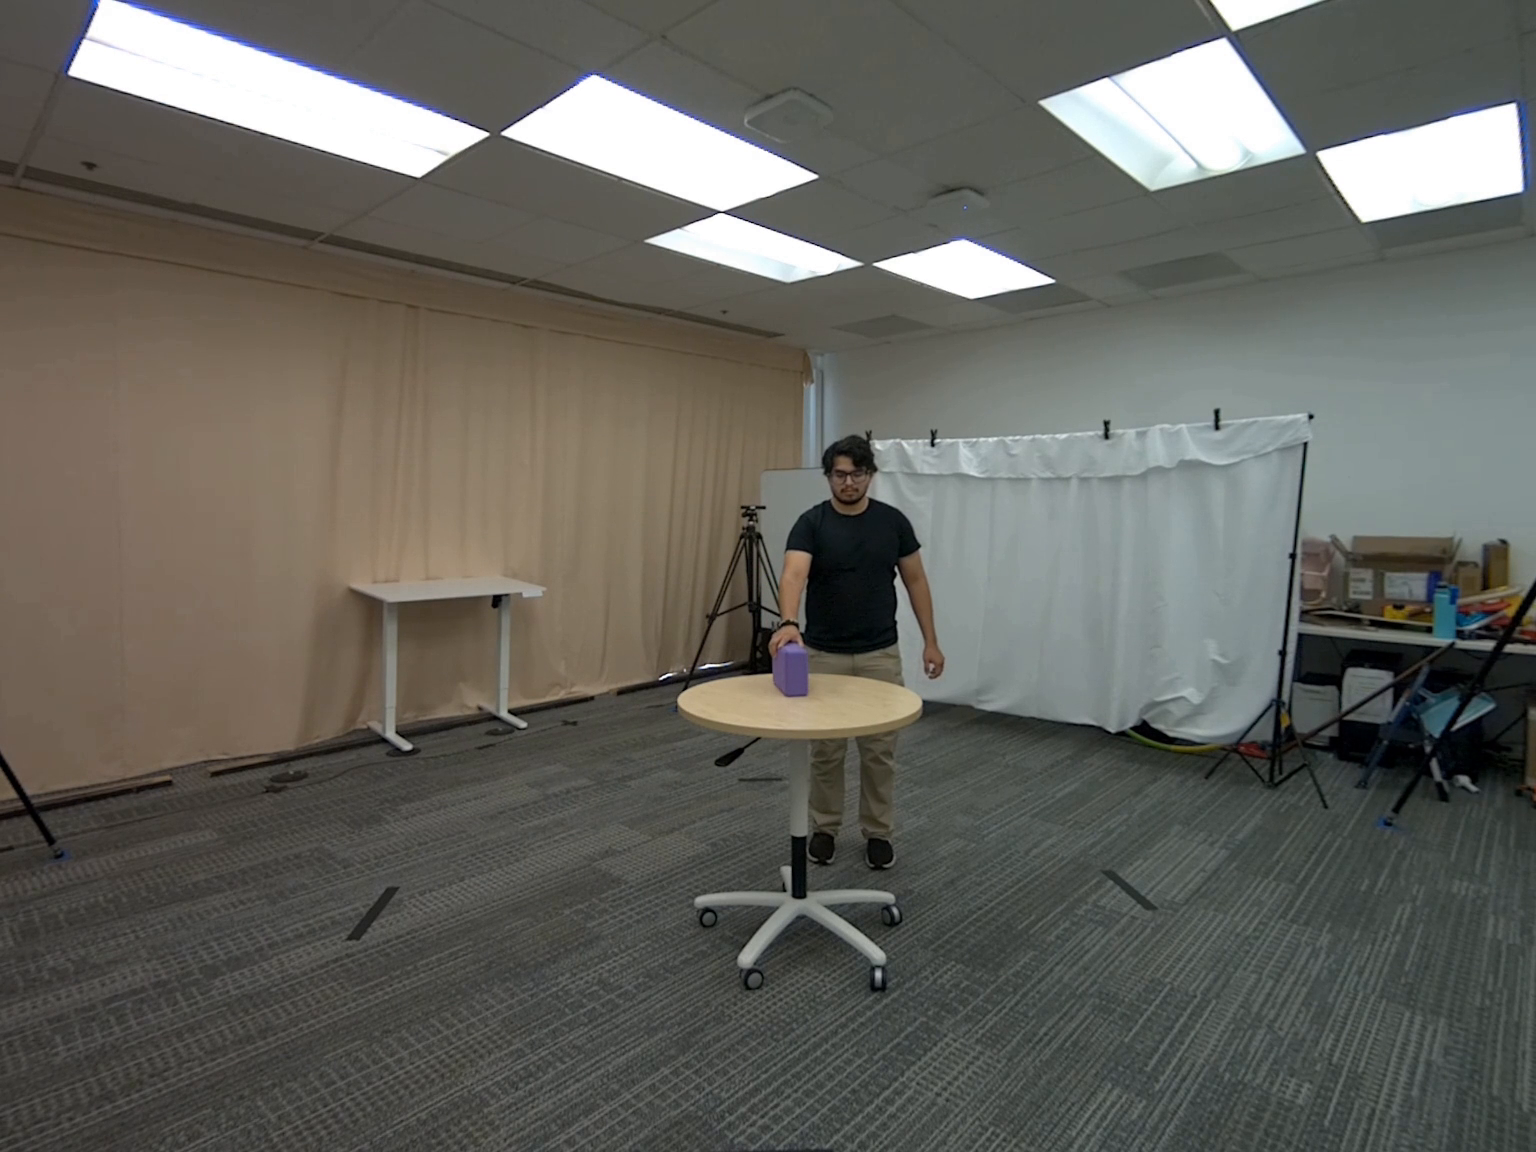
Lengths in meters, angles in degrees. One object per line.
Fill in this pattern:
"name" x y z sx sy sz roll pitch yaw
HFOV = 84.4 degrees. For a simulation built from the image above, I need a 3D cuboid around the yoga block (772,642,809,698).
"yoga block" 0.081 0.302 2.786 0.076 0.149 0.231 -2 3 -7
